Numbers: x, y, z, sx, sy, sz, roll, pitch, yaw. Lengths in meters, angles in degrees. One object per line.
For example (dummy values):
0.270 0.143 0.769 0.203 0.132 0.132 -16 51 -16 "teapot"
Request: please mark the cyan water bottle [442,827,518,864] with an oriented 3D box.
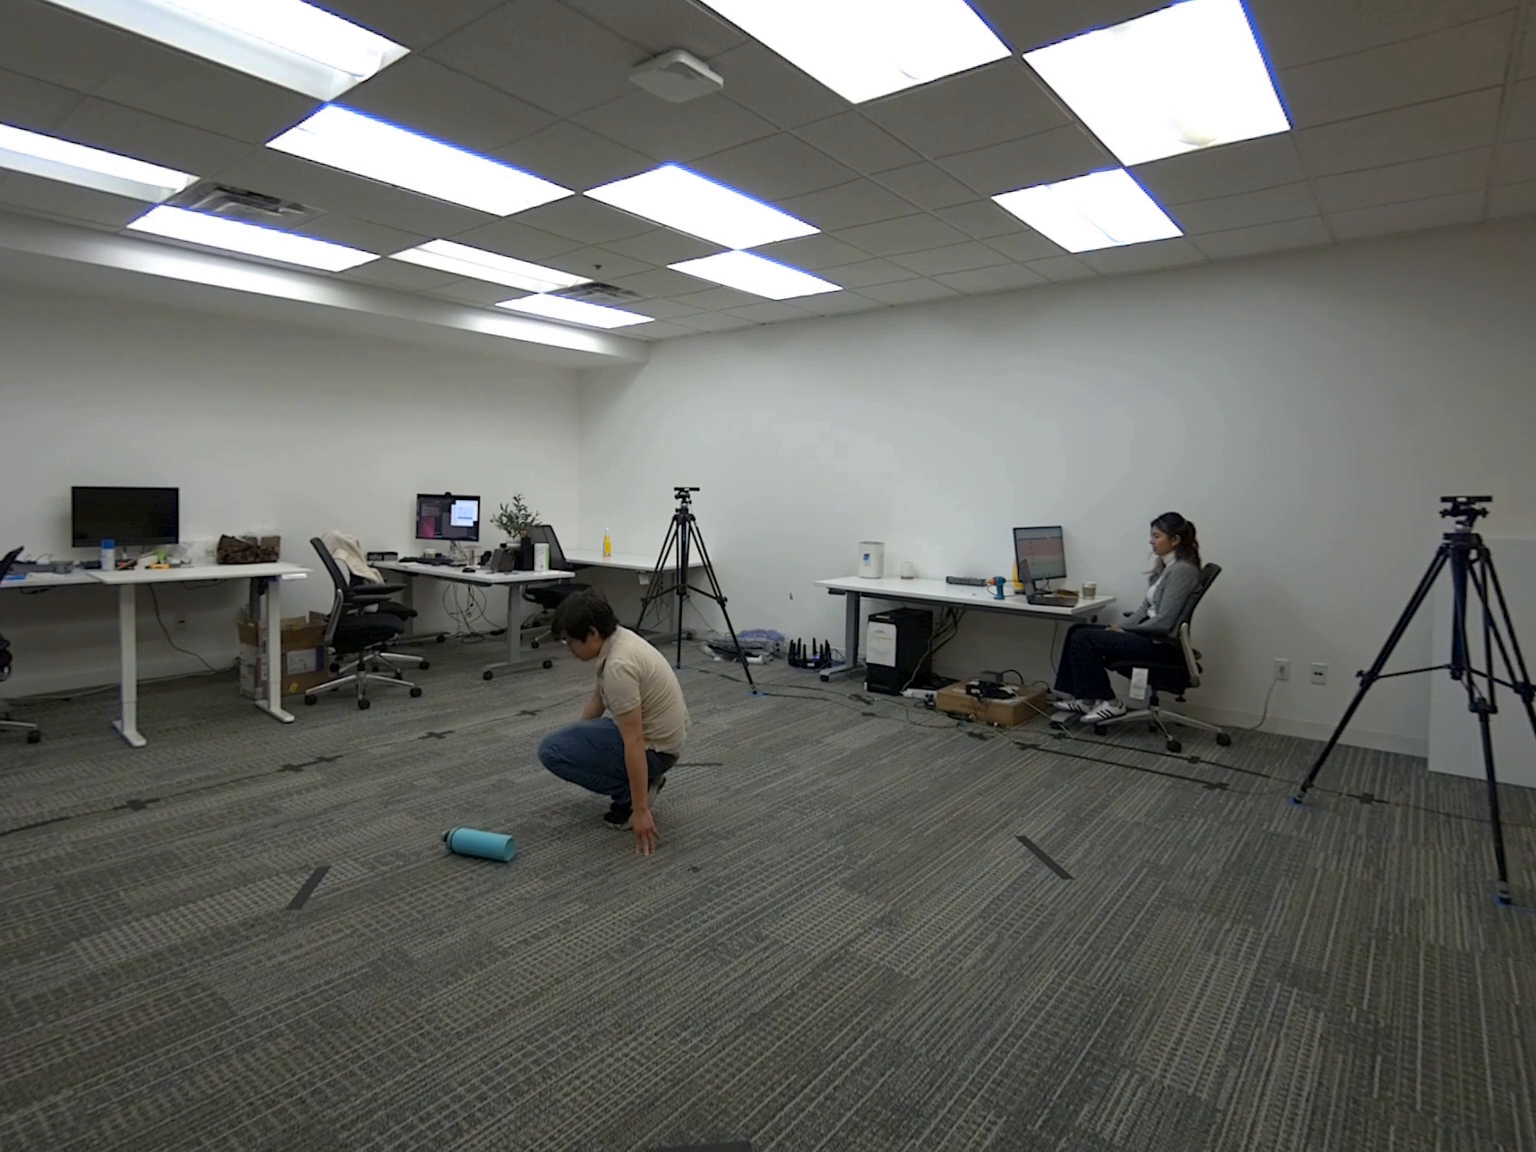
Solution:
-1.100 0.998 3.184 0.288 0.092 0.091 1 4 15 "cyan water bottle"
